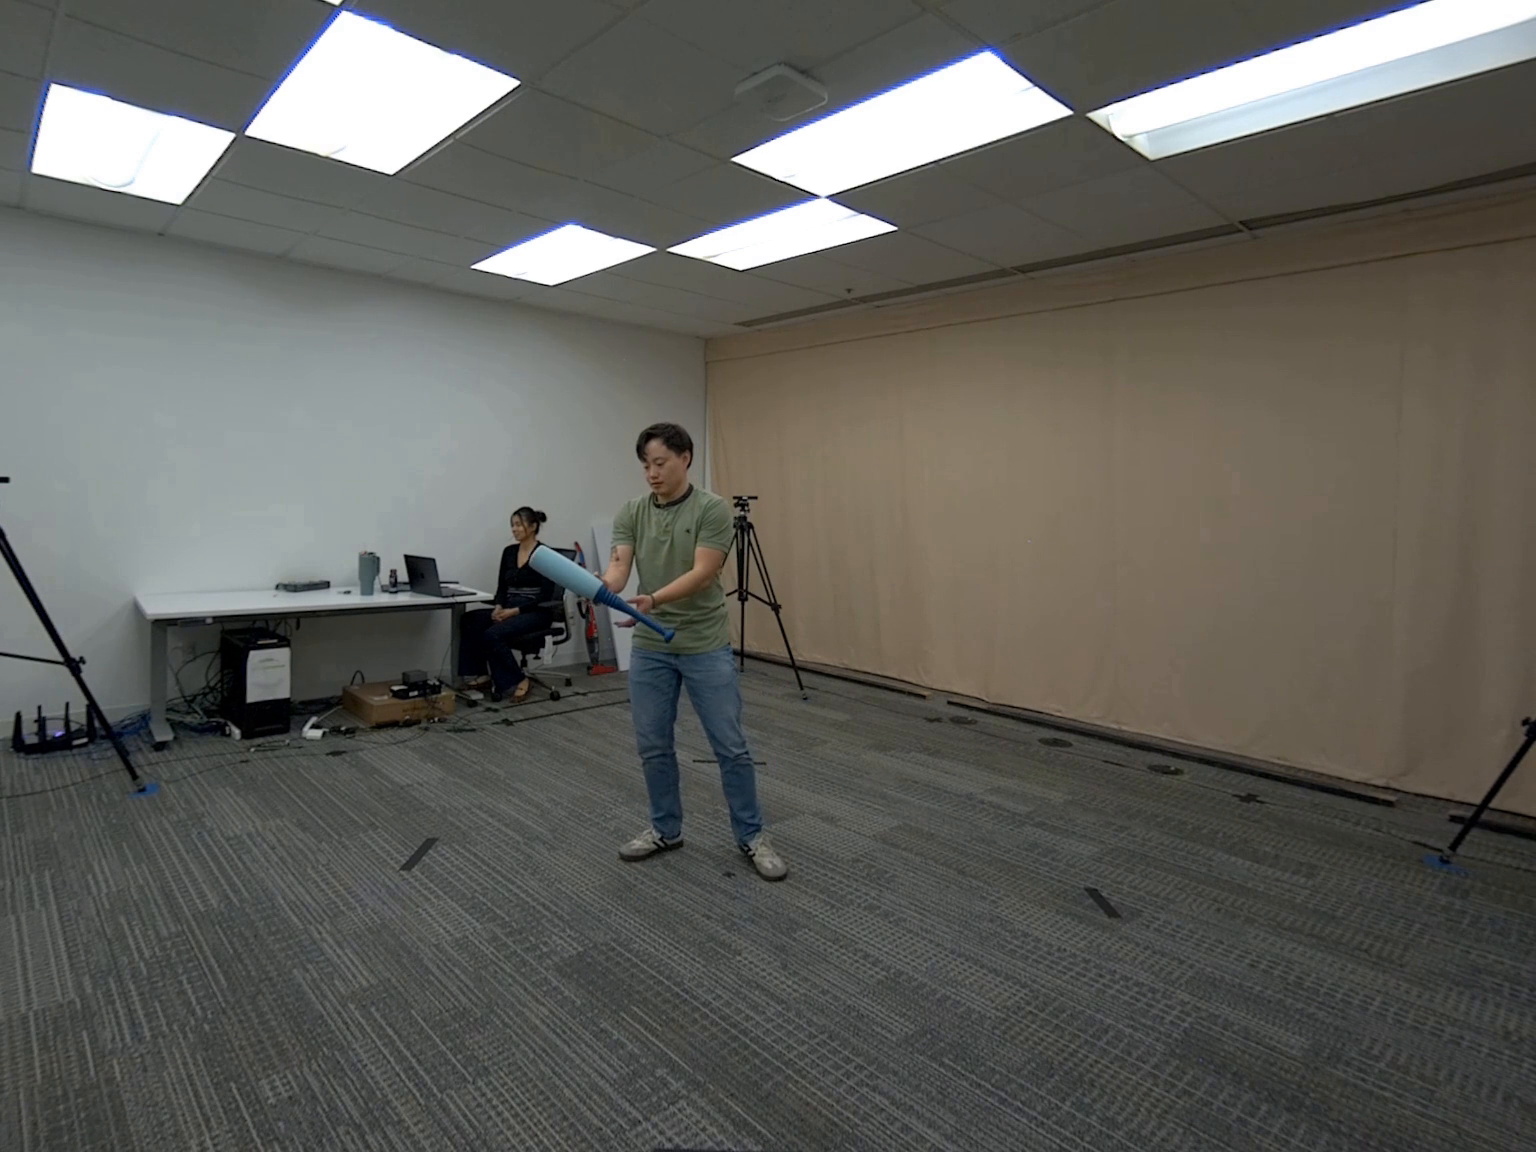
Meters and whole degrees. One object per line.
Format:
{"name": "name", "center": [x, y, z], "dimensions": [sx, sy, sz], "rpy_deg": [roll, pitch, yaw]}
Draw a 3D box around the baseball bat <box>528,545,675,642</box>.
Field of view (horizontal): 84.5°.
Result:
{"name": "baseball bat", "center": [-0.559, 0.070, 2.804], "dimensions": [0.545, 0.089, 0.089], "rpy_deg": [31, 6, 3]}
